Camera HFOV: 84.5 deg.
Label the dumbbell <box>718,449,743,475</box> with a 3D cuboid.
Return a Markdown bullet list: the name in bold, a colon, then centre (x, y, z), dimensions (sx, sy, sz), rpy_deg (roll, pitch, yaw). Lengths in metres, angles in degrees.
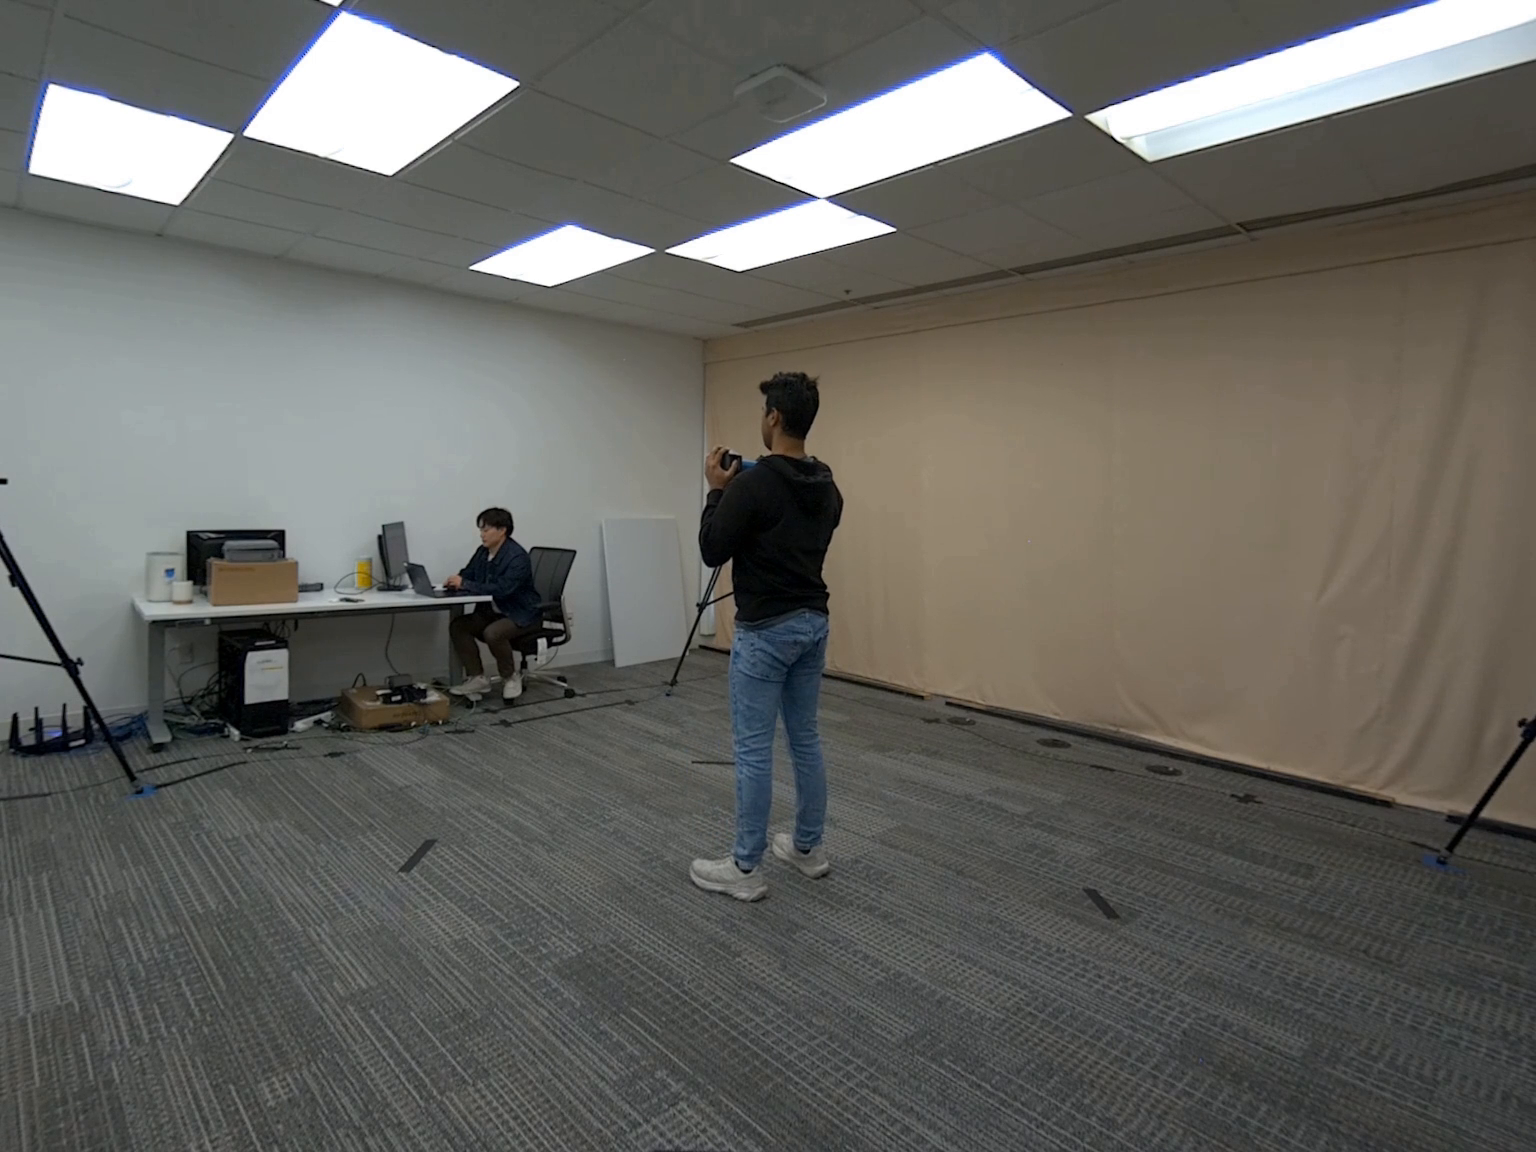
- **dumbbell**: centre (-0.074, -0.399, 3.135), dimensions (0.286, 0.123, 0.111), rpy_deg (2, -3, -41)
